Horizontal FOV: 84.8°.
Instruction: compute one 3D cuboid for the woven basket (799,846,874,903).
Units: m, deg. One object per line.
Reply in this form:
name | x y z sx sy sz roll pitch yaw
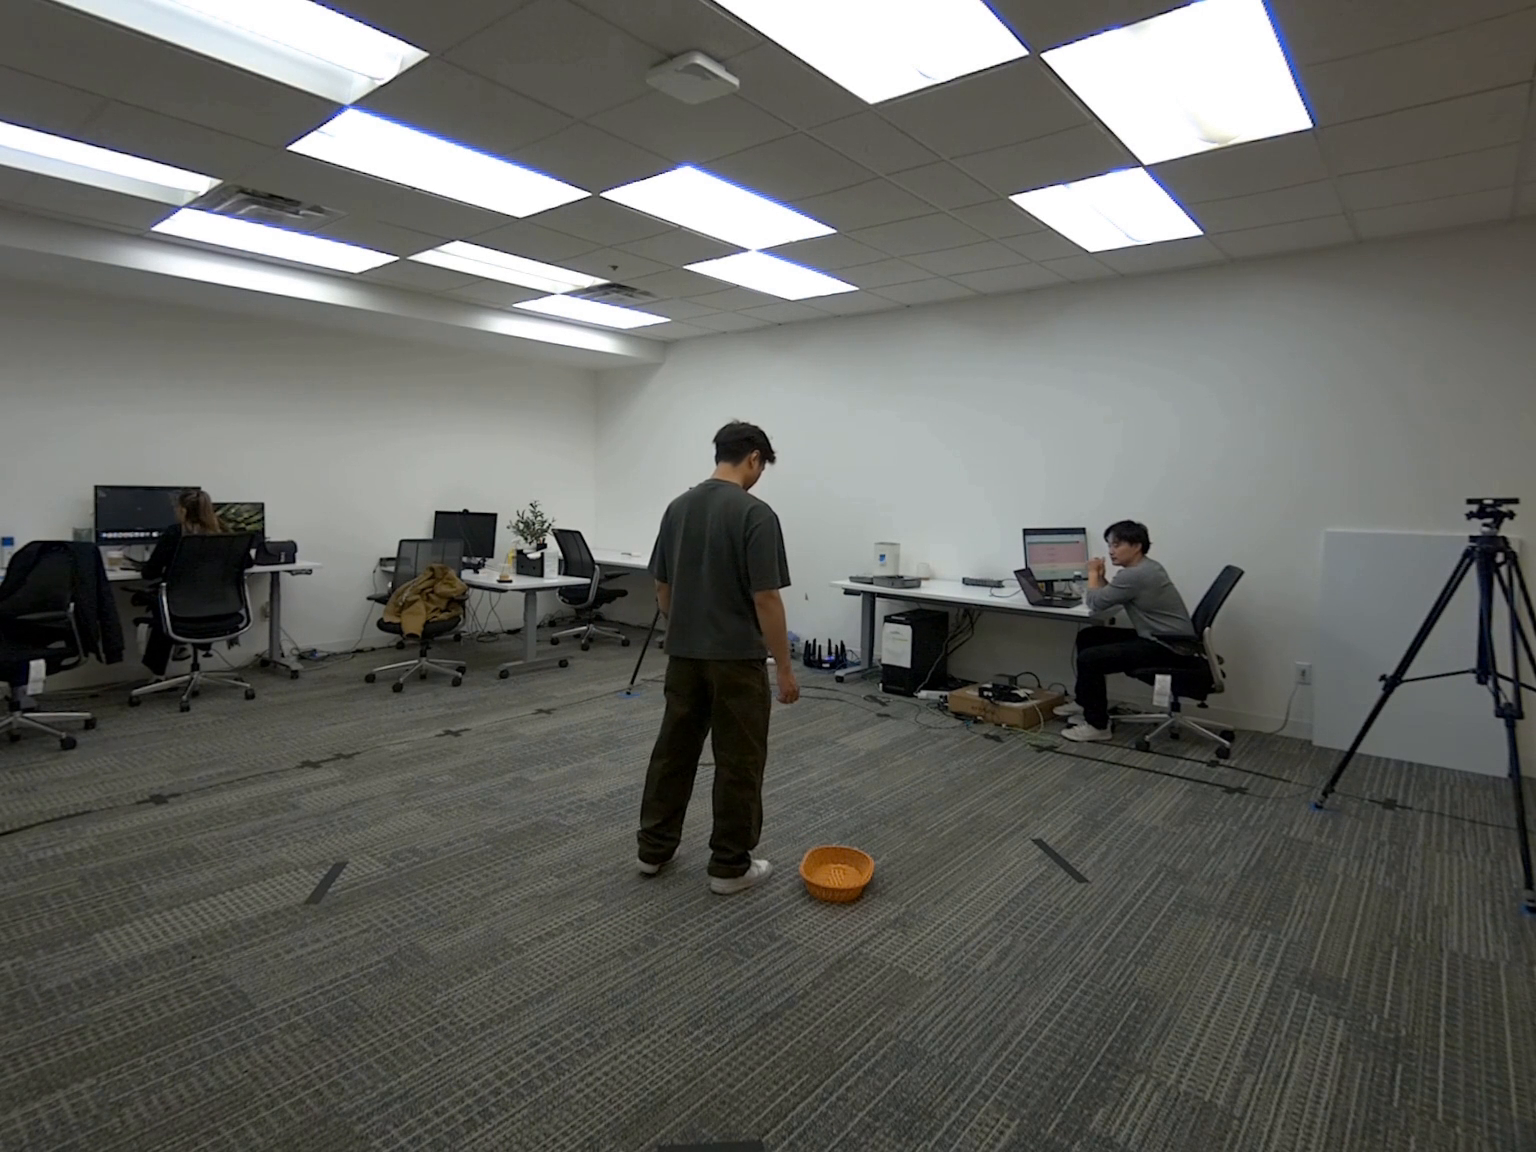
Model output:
woven basket | 0.233 1.050 3.004 0.258 0.073 0.344 3 6 21
